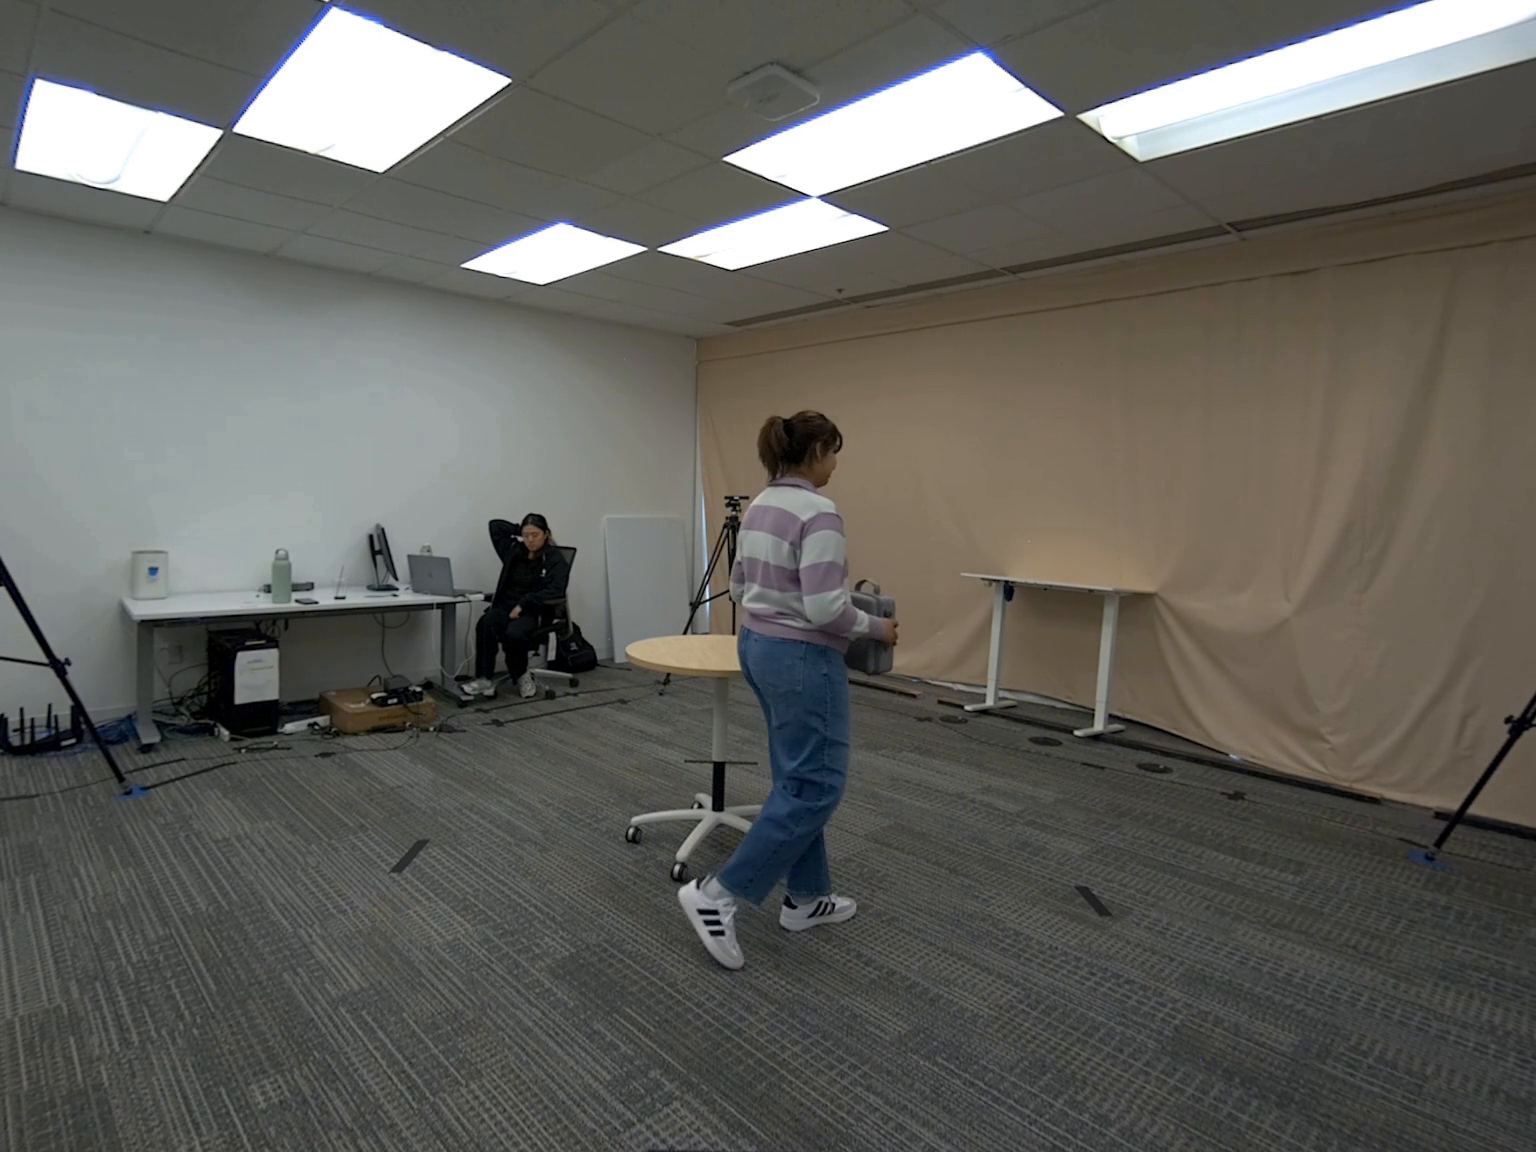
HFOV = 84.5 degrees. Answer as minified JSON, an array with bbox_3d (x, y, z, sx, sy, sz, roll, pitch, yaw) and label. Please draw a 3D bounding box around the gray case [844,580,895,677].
[{"bbox_3d":[0.302,0.179,2.772,0.102,0.260,0.262,1,5,-26],"label":"gray case"}]
